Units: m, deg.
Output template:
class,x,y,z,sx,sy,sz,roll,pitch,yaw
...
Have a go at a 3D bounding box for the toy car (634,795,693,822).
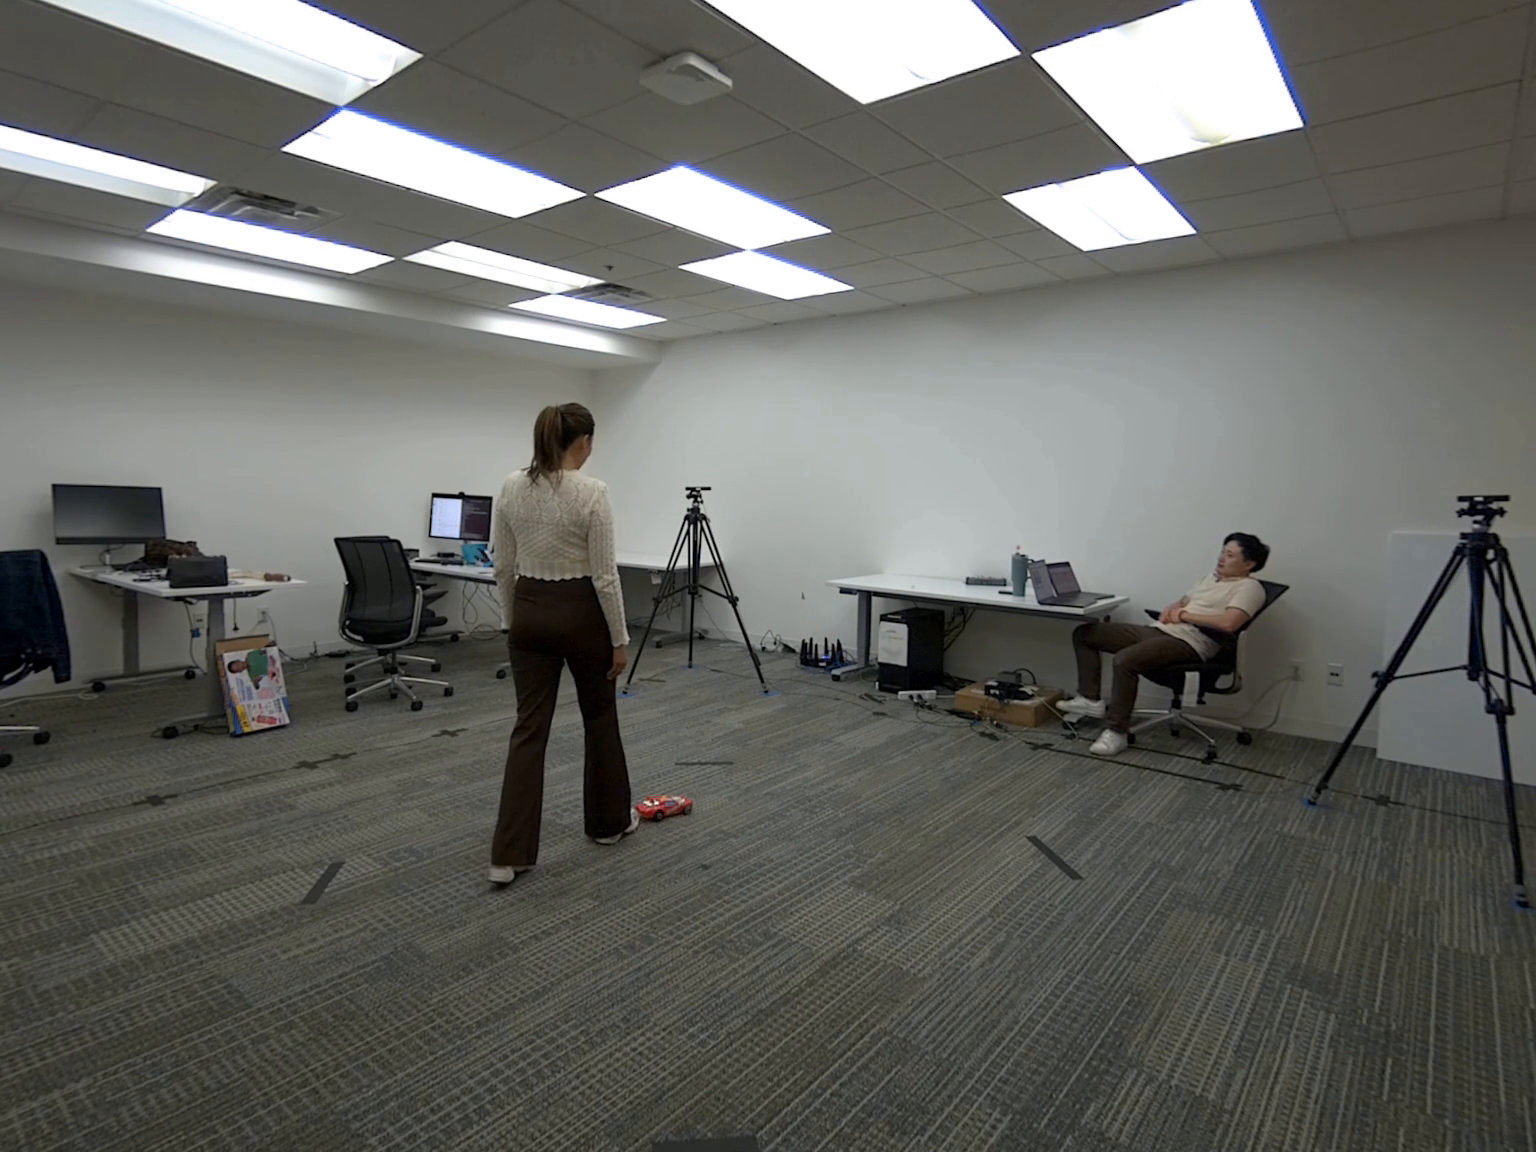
class,x,y,z,sx,sy,sz,roll,pitch,yaw
toy car,-0.463,0.981,3.610,0.246,0.083,0.134,10,-3,-35
